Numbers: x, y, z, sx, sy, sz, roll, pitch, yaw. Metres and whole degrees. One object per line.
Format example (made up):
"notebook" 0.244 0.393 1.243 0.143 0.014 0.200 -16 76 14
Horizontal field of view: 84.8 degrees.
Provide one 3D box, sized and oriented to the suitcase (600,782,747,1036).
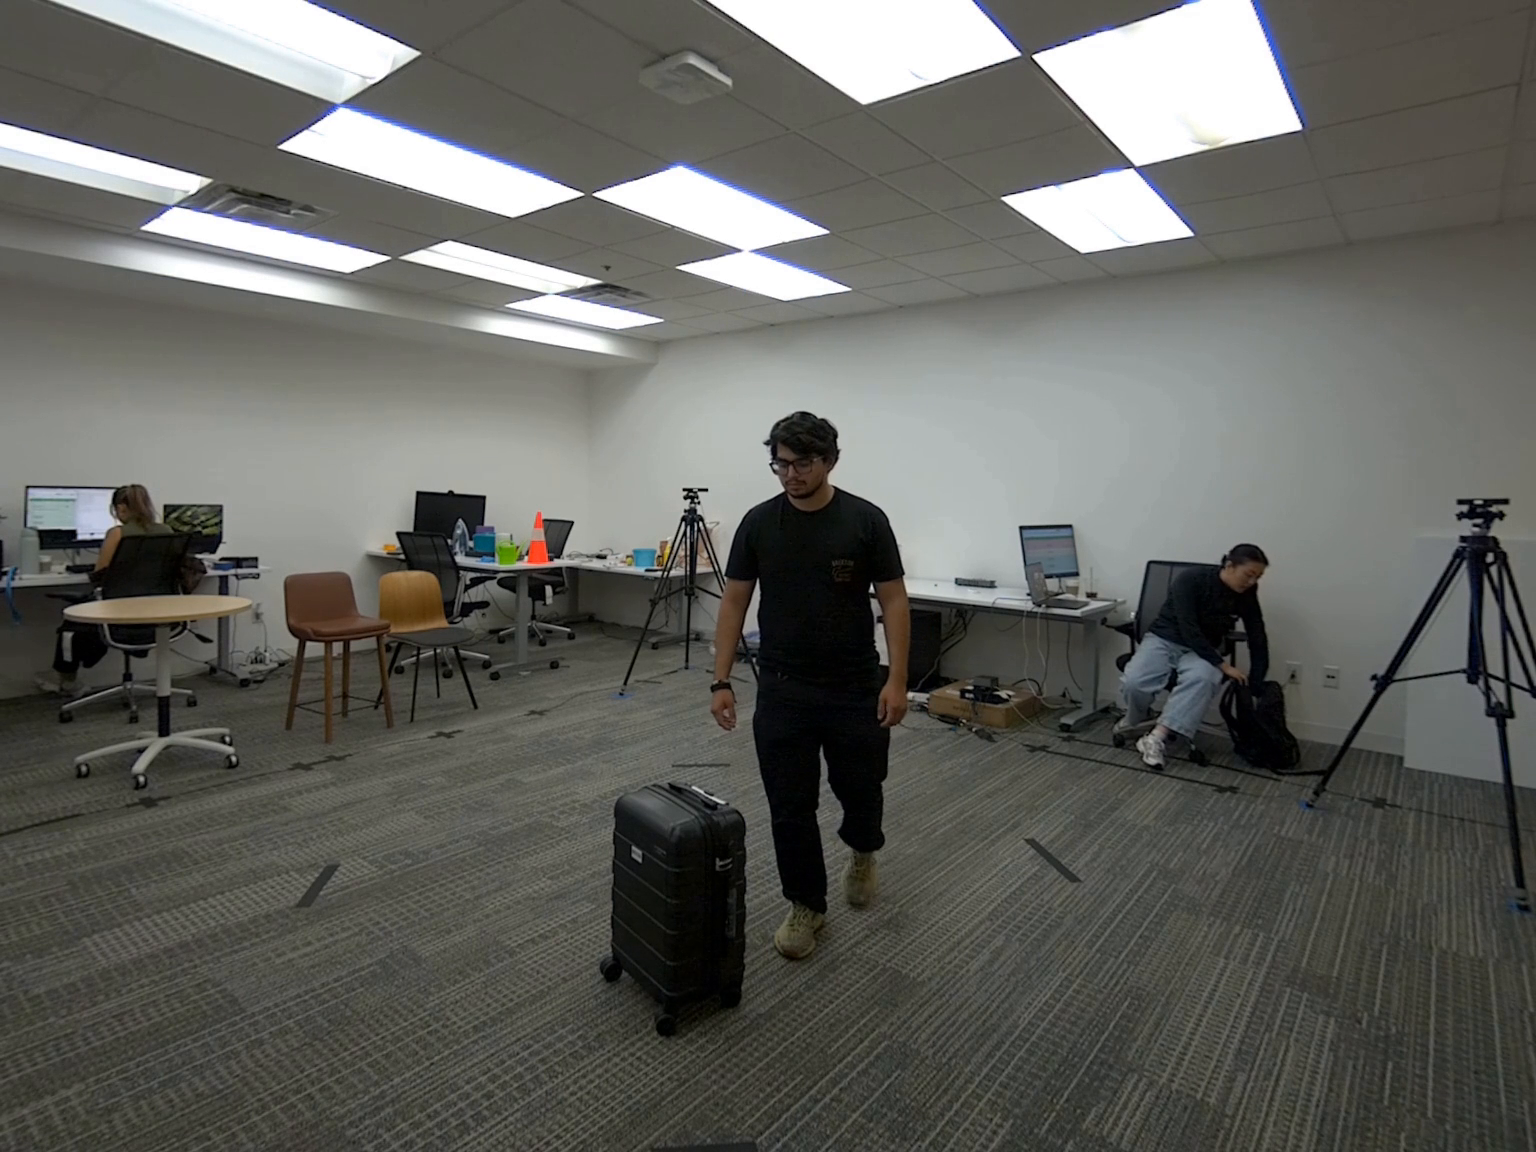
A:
"suitcase" -0.255 0.869 2.336 0.241 0.548 0.388 -1 5 -38
